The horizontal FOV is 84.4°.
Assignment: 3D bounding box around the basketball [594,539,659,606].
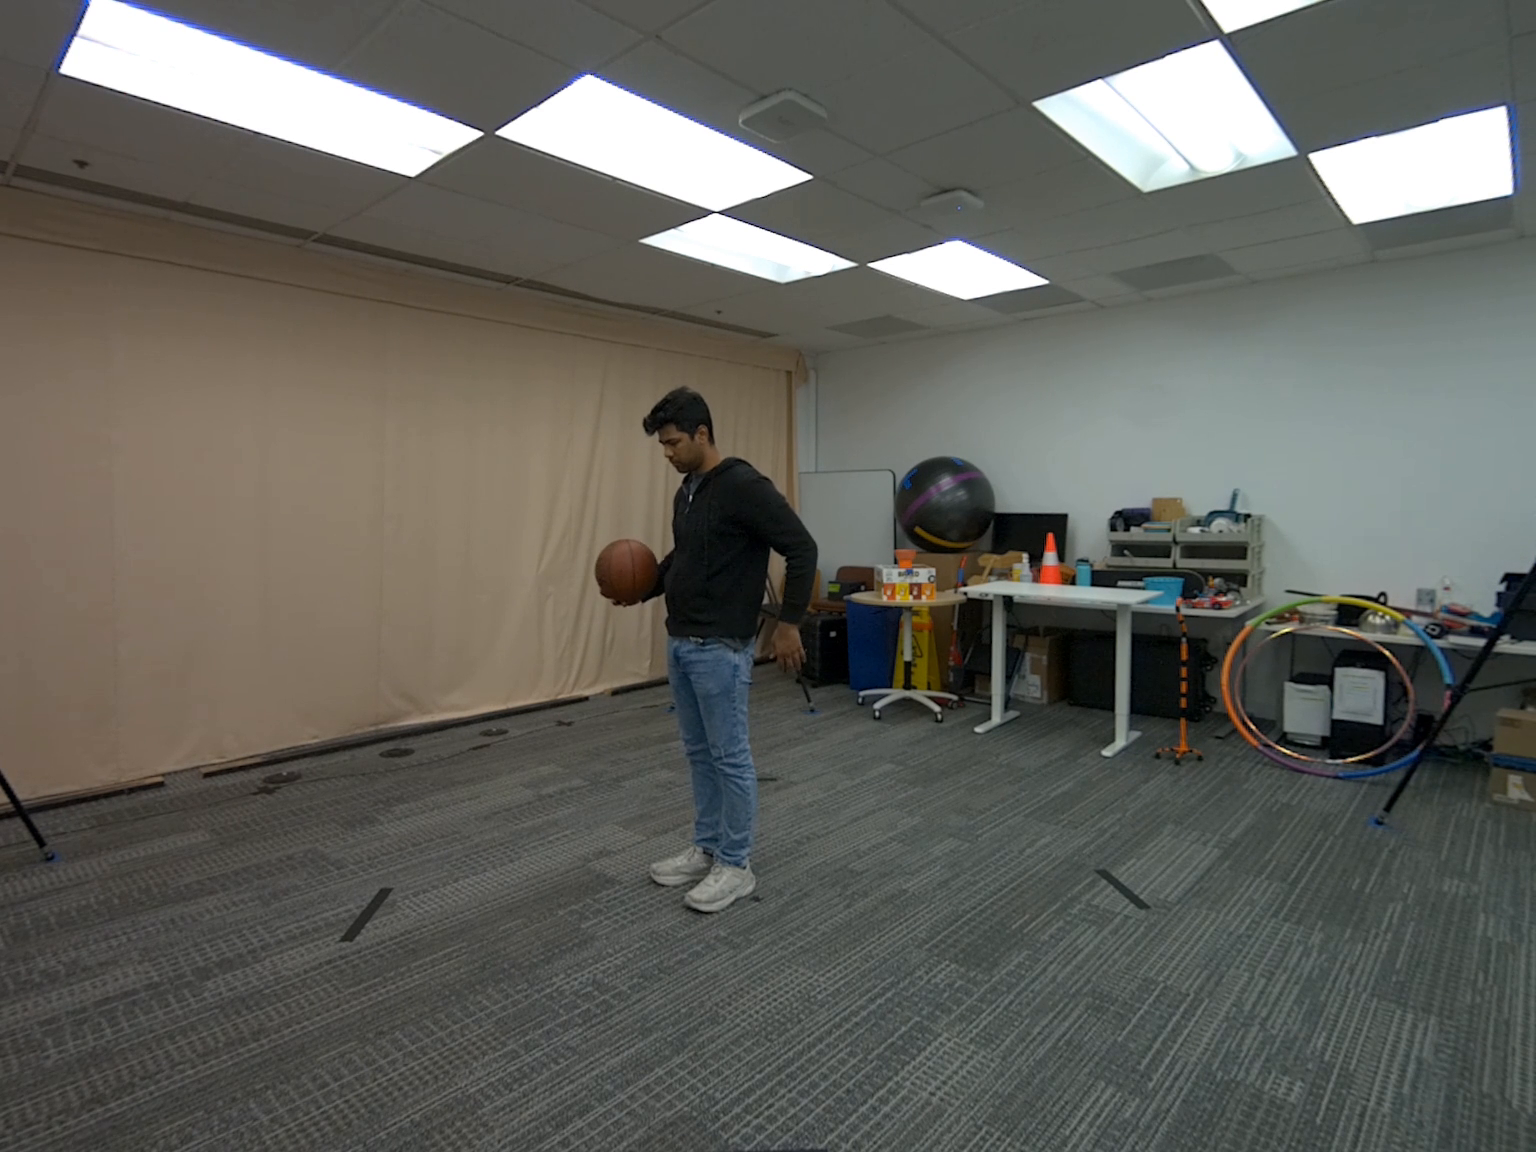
[{"bbox_3d":[-0.512,-0.024,3.161,0.236,0.235,0.237,0,4,-2],"label":"basketball"}]
